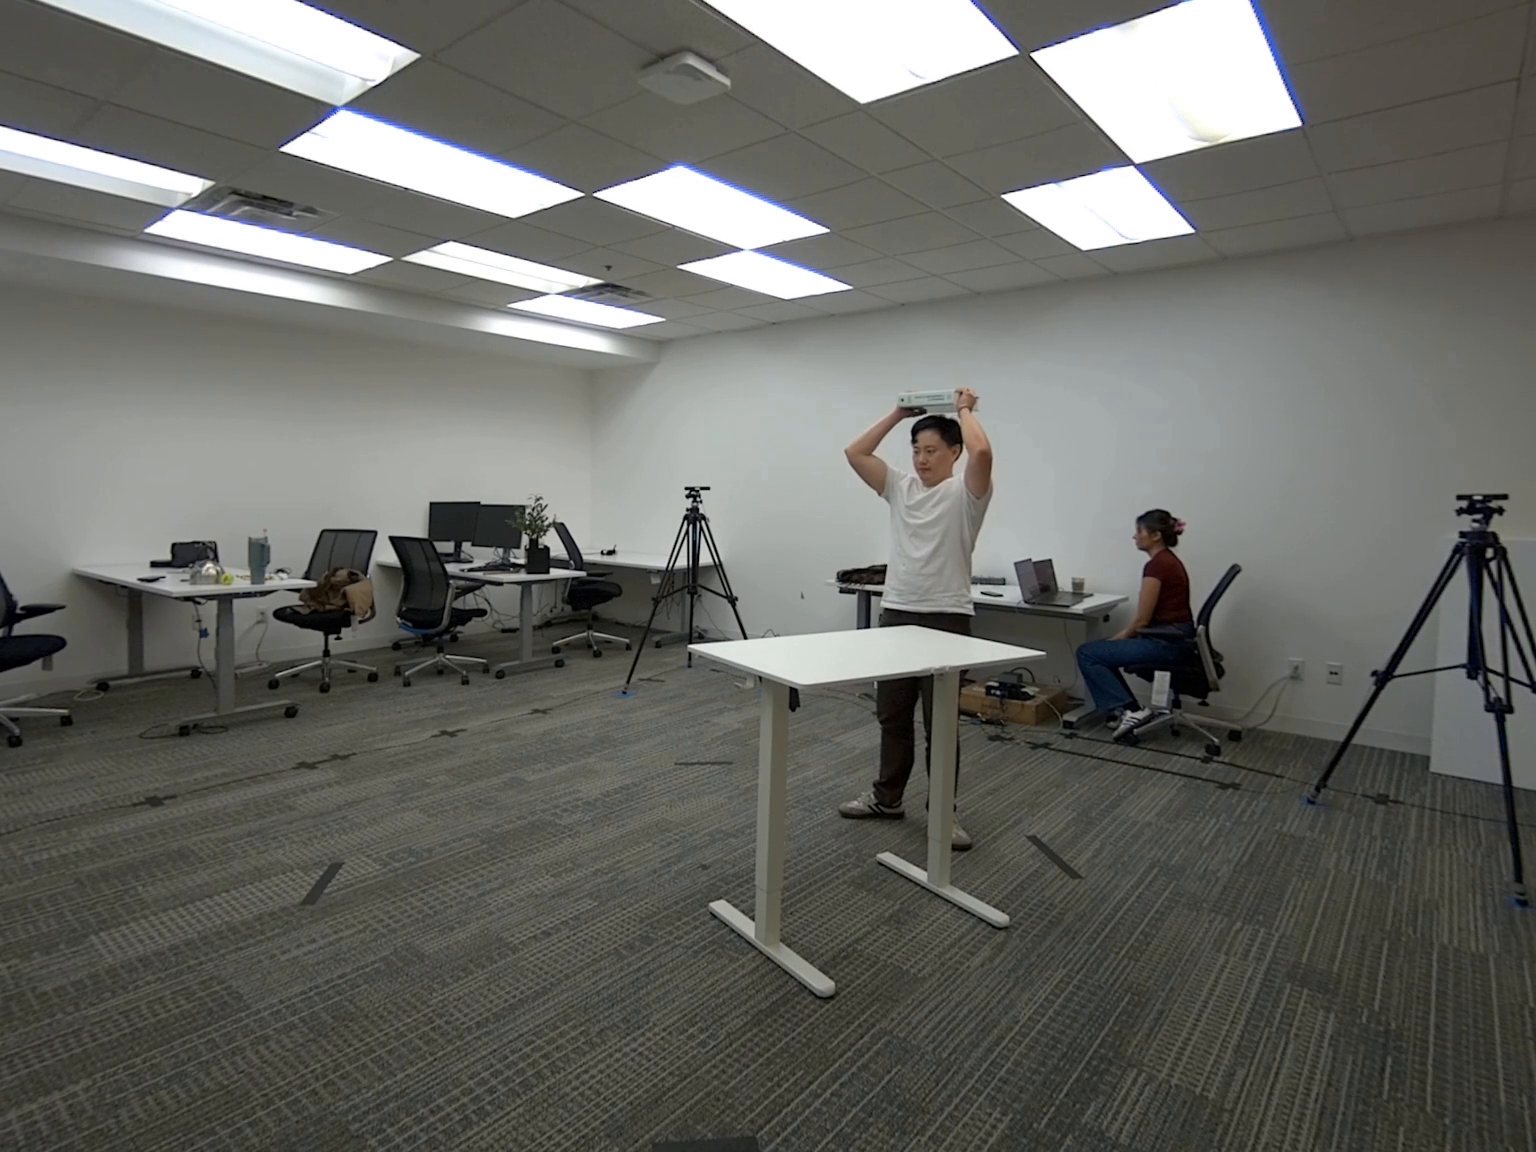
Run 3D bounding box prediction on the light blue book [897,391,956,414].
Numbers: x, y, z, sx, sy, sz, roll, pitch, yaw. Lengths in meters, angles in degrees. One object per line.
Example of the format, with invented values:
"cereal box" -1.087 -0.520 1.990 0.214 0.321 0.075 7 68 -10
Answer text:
"light blue book" 0.674 -0.702 3.418 0.185 0.059 0.270 3 3 -44
